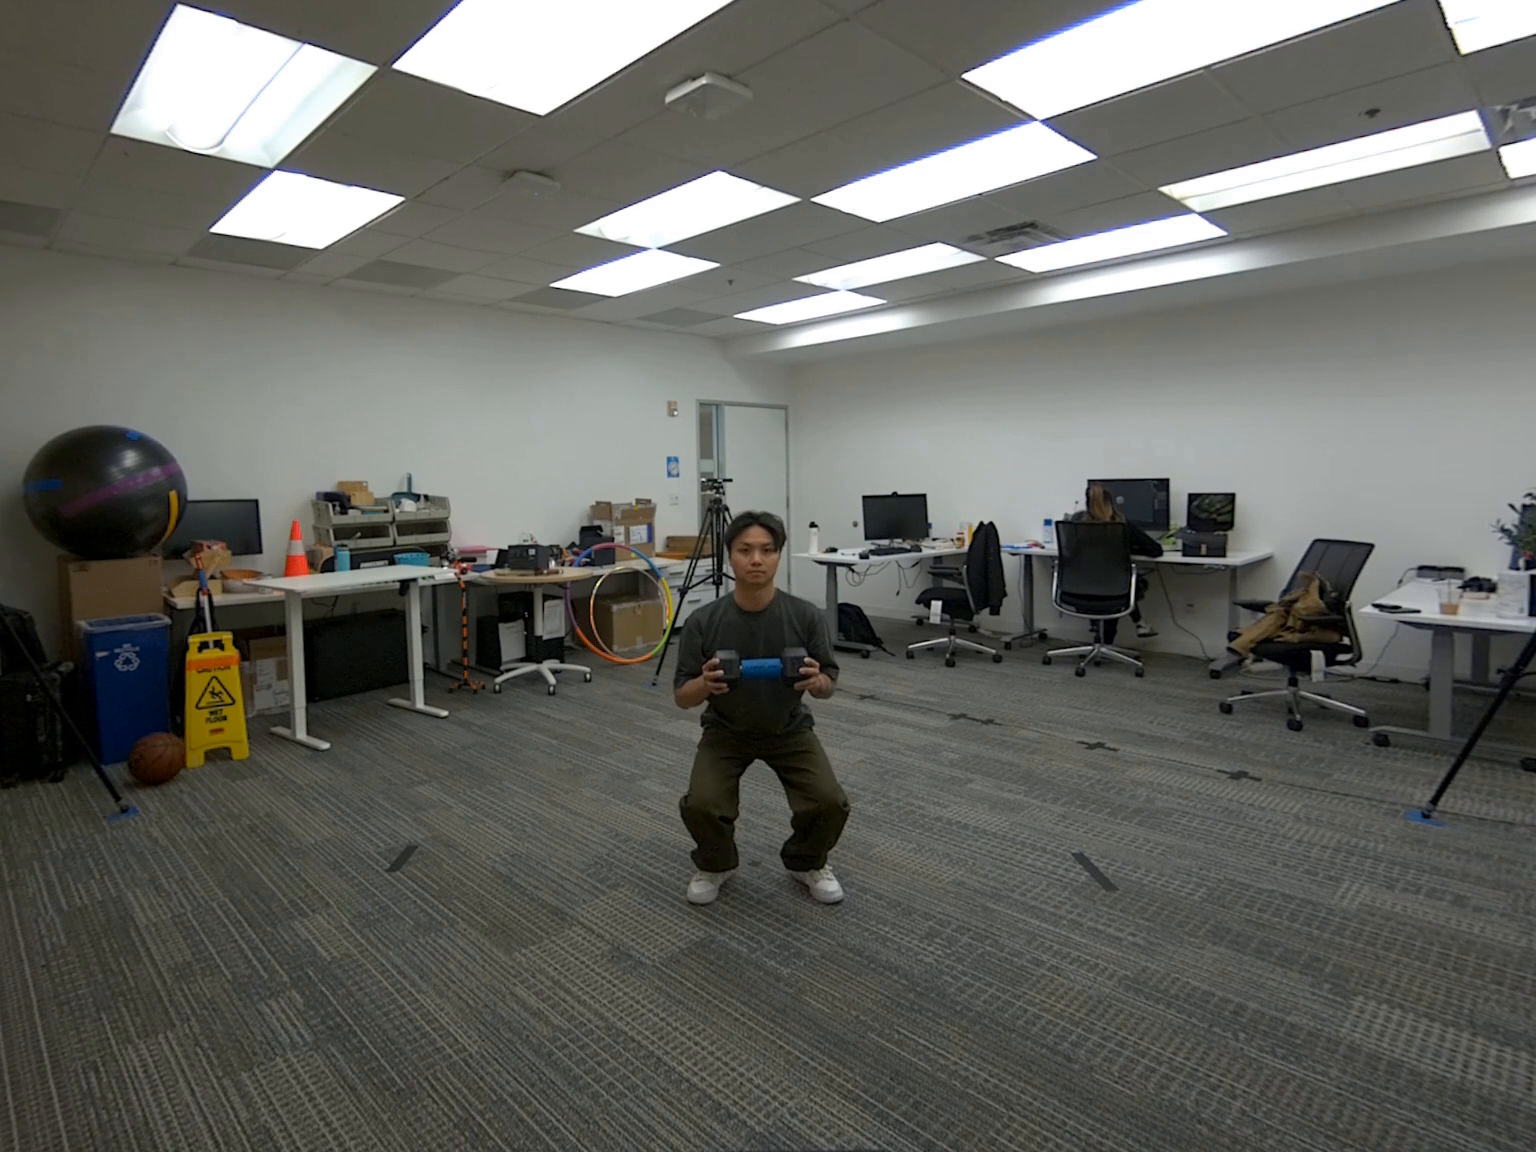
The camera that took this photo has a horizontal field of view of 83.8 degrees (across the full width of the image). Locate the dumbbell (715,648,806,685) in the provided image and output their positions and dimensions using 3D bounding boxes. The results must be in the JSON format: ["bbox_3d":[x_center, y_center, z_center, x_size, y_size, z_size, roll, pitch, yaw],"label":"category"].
[{"bbox_3d":[-0.036,0.291,2.657,0.294,0.119,0.112,-3,46,0],"label":"dumbbell"}]
